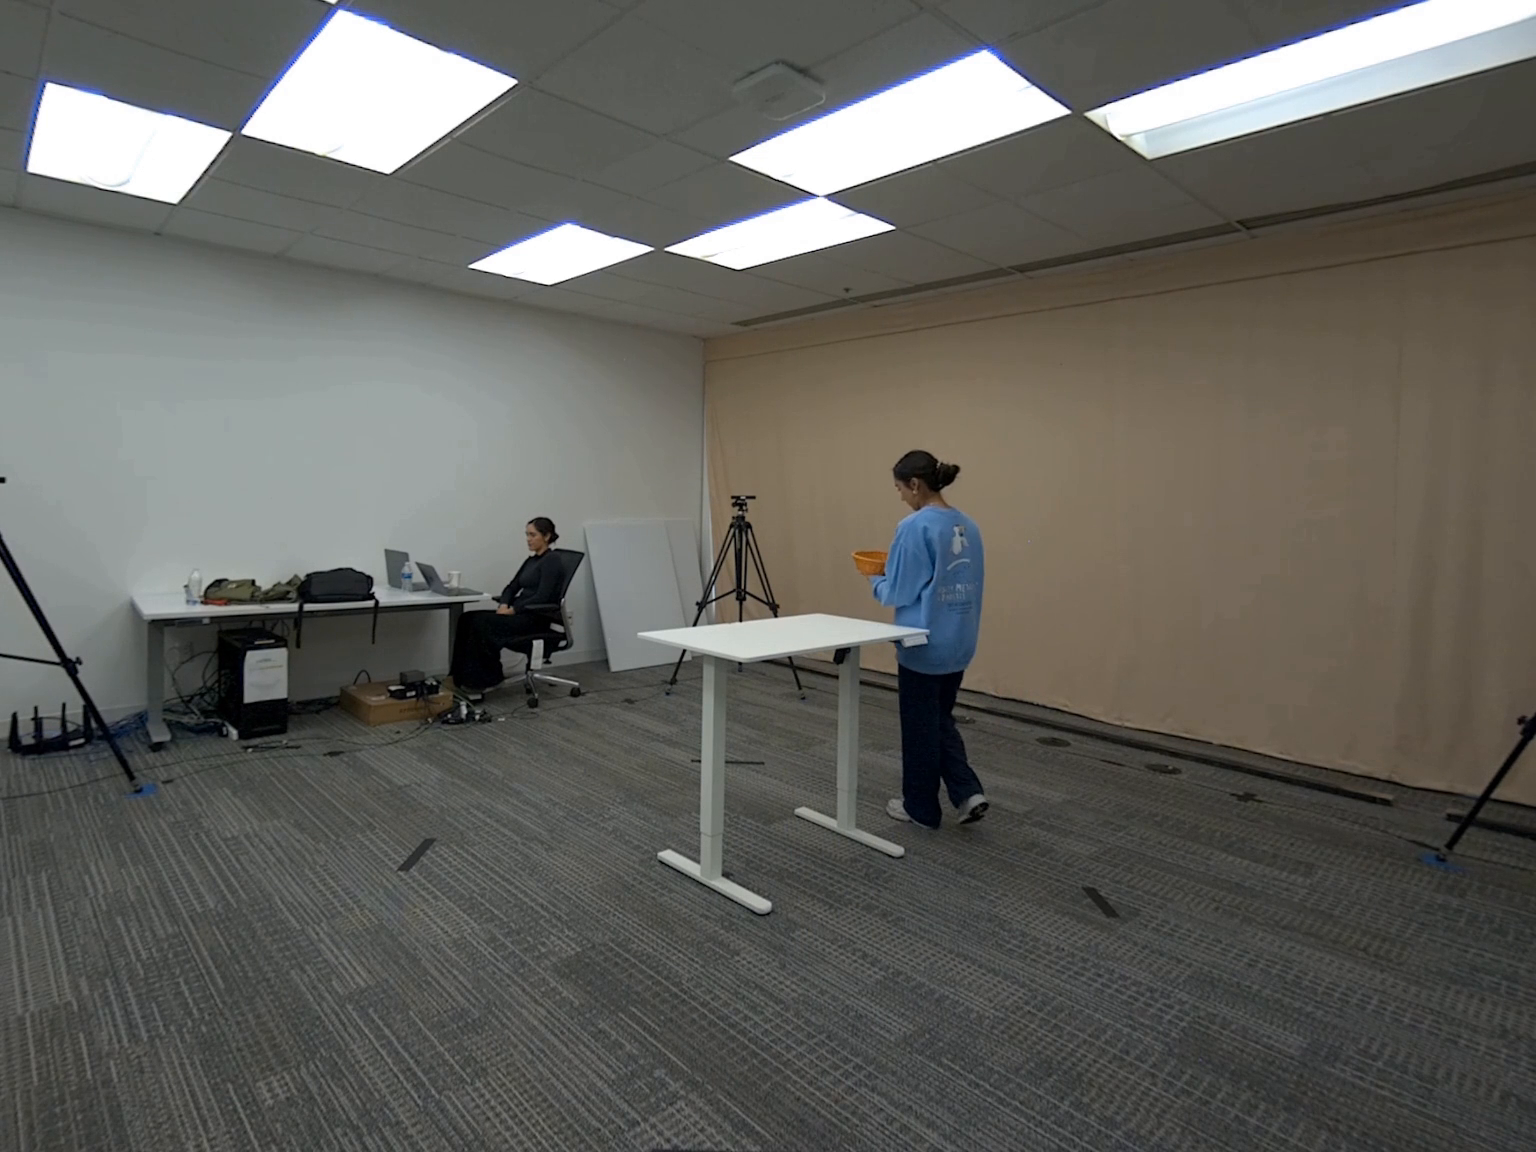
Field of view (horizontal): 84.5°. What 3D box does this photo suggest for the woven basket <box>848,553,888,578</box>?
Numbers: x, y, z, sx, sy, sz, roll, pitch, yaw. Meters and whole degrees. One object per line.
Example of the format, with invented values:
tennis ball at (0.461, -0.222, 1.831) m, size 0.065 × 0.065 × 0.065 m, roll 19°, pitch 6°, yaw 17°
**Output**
woven basket at (0.564, -0.041, 3.820) m, size 0.259 × 0.073 × 0.343 m, roll 12°, pitch 11°, yaw 37°
